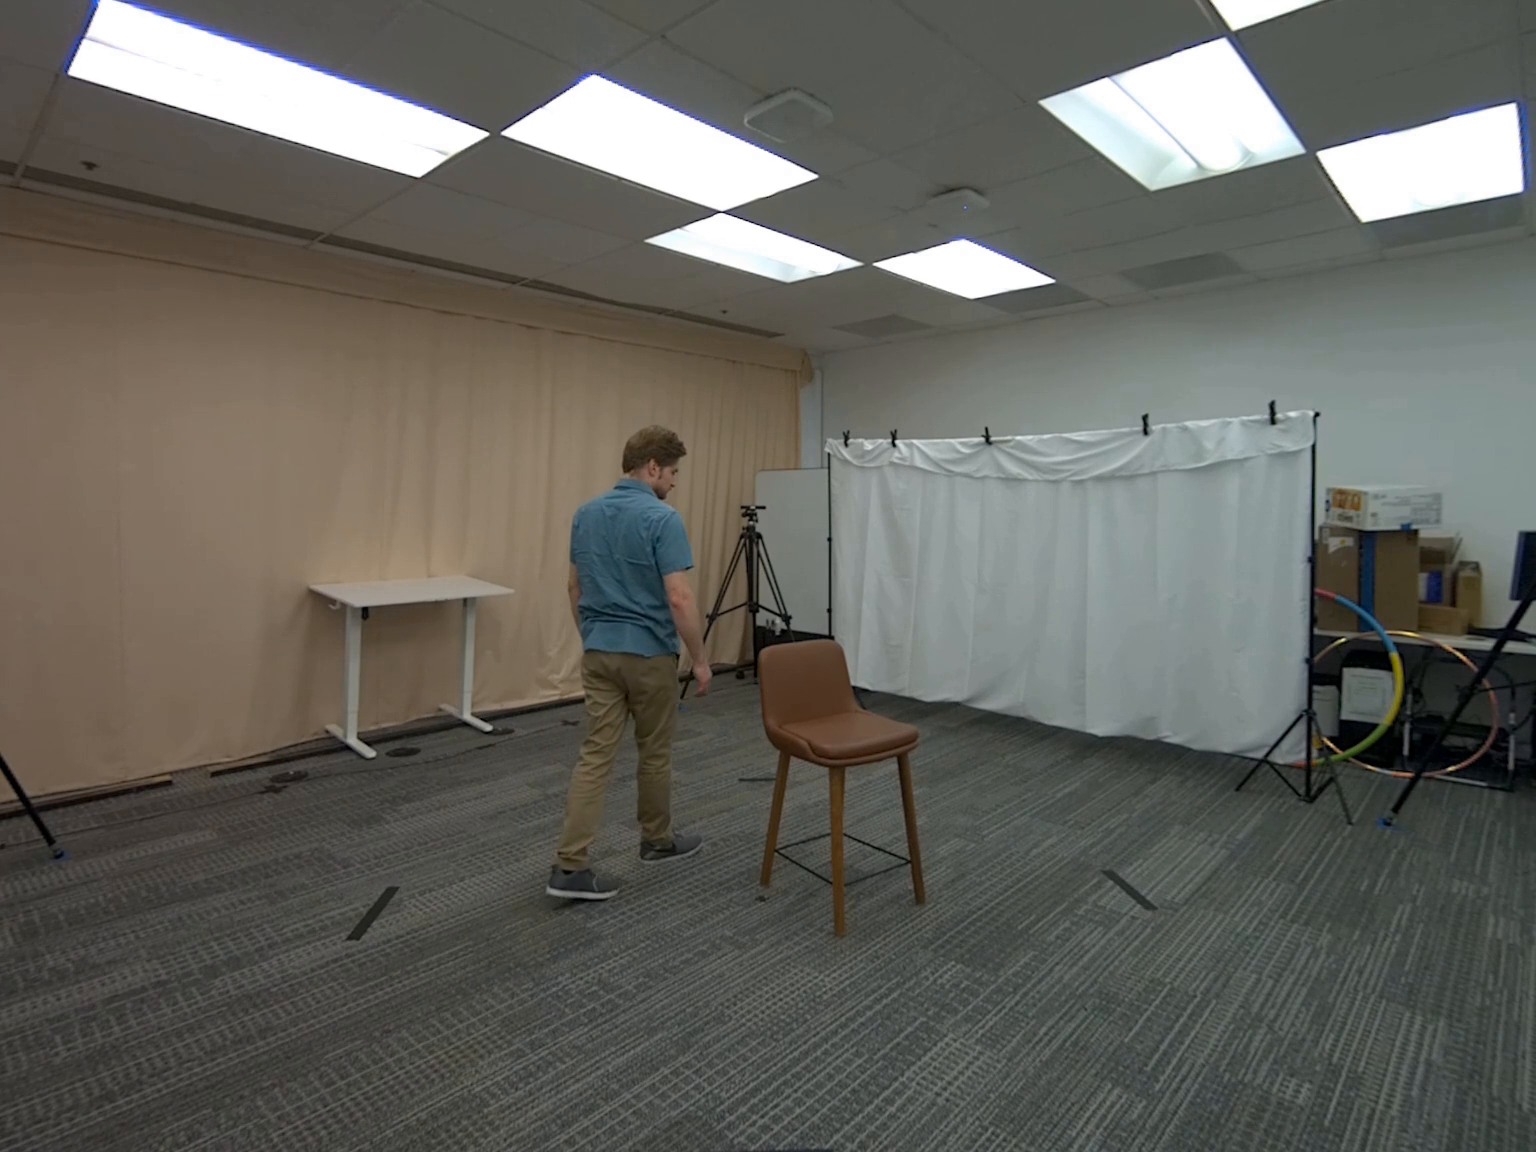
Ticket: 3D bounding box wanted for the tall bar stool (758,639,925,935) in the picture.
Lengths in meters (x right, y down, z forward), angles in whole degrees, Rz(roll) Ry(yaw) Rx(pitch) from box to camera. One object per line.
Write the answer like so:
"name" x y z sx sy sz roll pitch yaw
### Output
"tall bar stool" 0.253 0.707 2.993 0.443 0.888 0.482 -3 3 -36
